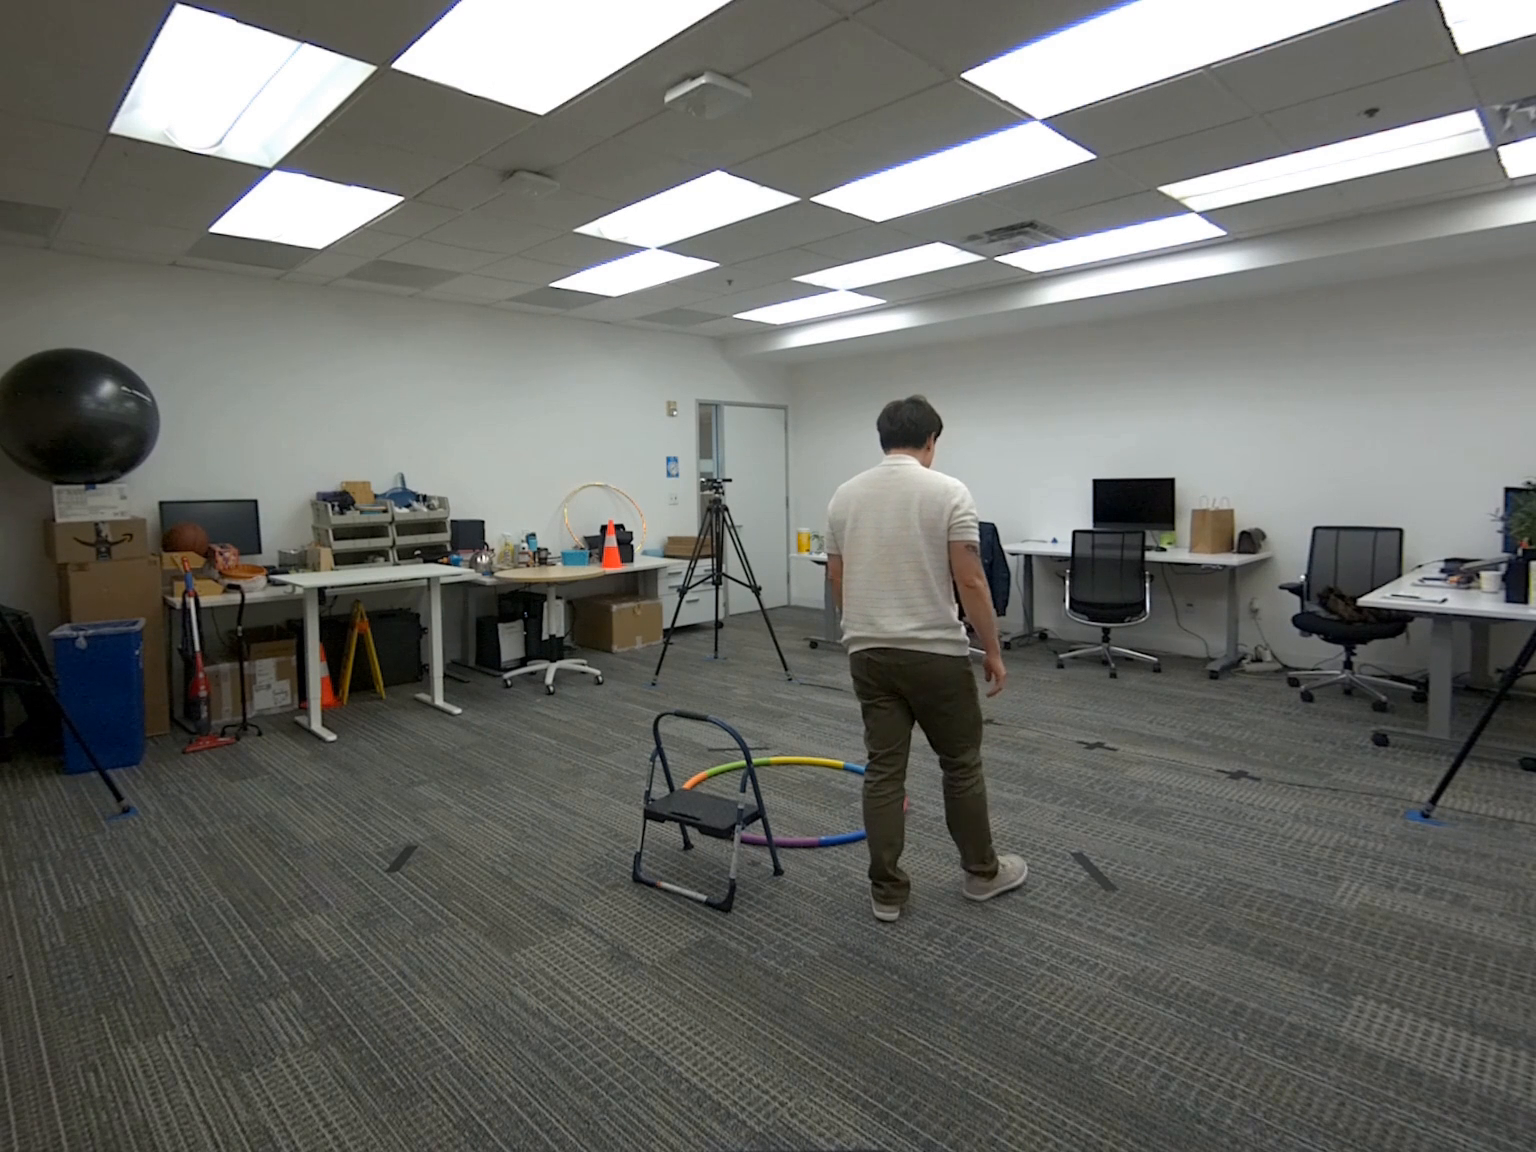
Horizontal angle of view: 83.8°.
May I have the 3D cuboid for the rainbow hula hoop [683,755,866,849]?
[{"bbox_3d":[0.098,0.944,3.714,0.978,0.035,0.984,-1,7,-2],"label":"rainbow hula hoop"}]
